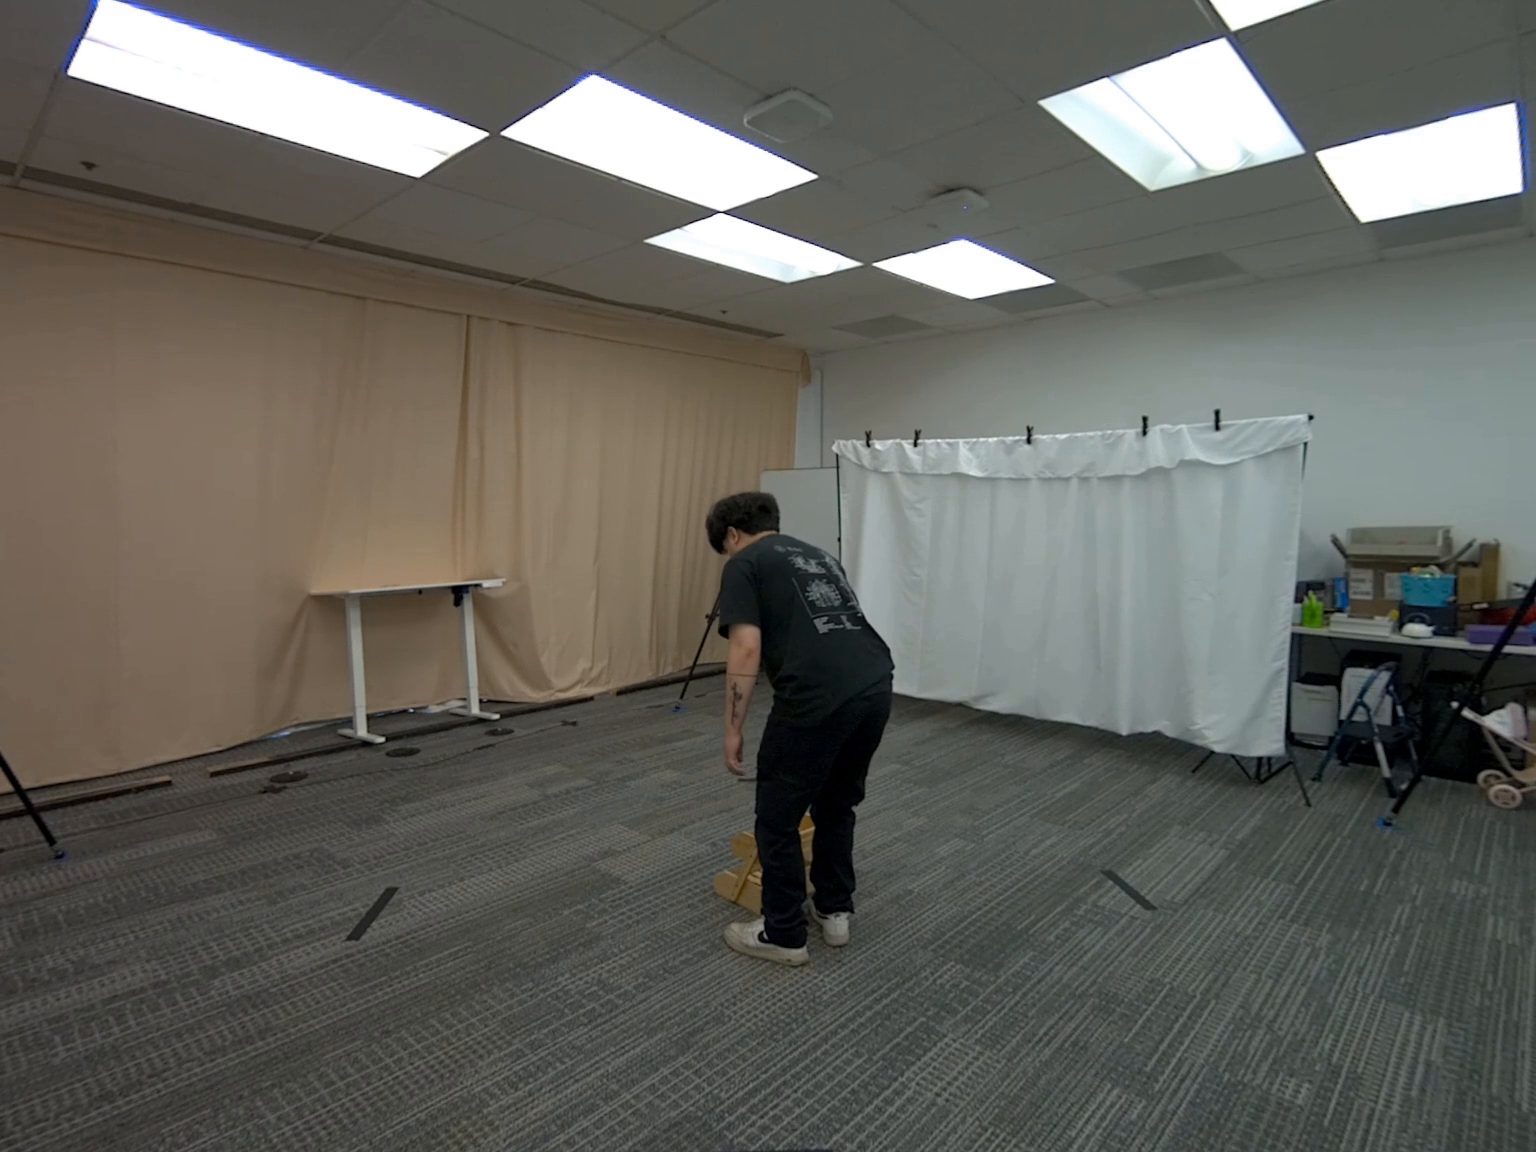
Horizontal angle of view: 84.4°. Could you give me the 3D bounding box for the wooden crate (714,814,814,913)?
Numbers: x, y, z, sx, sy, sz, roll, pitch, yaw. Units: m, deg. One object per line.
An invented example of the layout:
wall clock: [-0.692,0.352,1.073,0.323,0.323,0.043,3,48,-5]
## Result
wooden crate: [0.015,1.009,3.030,0.314,0.273,0.312,-3,6,-44]
